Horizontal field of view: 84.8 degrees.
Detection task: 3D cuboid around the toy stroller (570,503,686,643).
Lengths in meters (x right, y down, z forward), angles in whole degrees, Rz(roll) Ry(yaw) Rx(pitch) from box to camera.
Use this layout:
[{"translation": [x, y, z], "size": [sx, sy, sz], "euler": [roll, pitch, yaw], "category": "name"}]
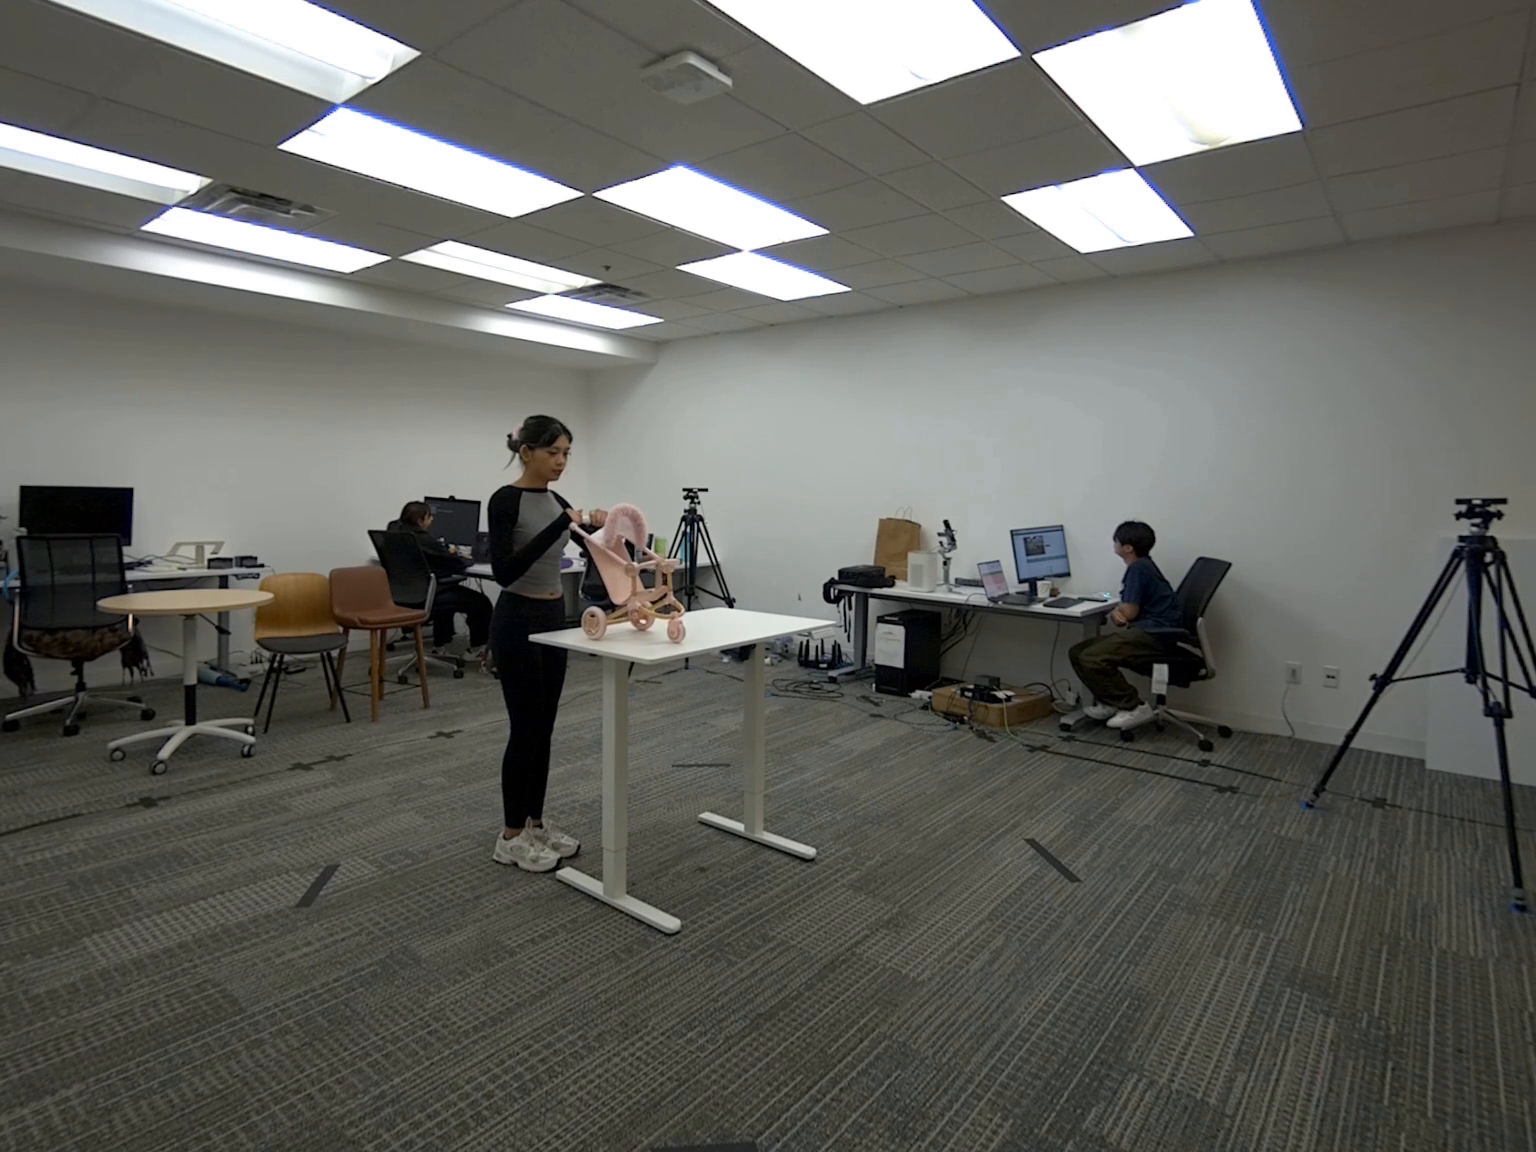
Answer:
[{"translation": [-0.476, -0.013, 2.890], "size": [0.348, 0.540, 0.273], "euler": [-20, -10, 37], "category": "toy stroller"}]
